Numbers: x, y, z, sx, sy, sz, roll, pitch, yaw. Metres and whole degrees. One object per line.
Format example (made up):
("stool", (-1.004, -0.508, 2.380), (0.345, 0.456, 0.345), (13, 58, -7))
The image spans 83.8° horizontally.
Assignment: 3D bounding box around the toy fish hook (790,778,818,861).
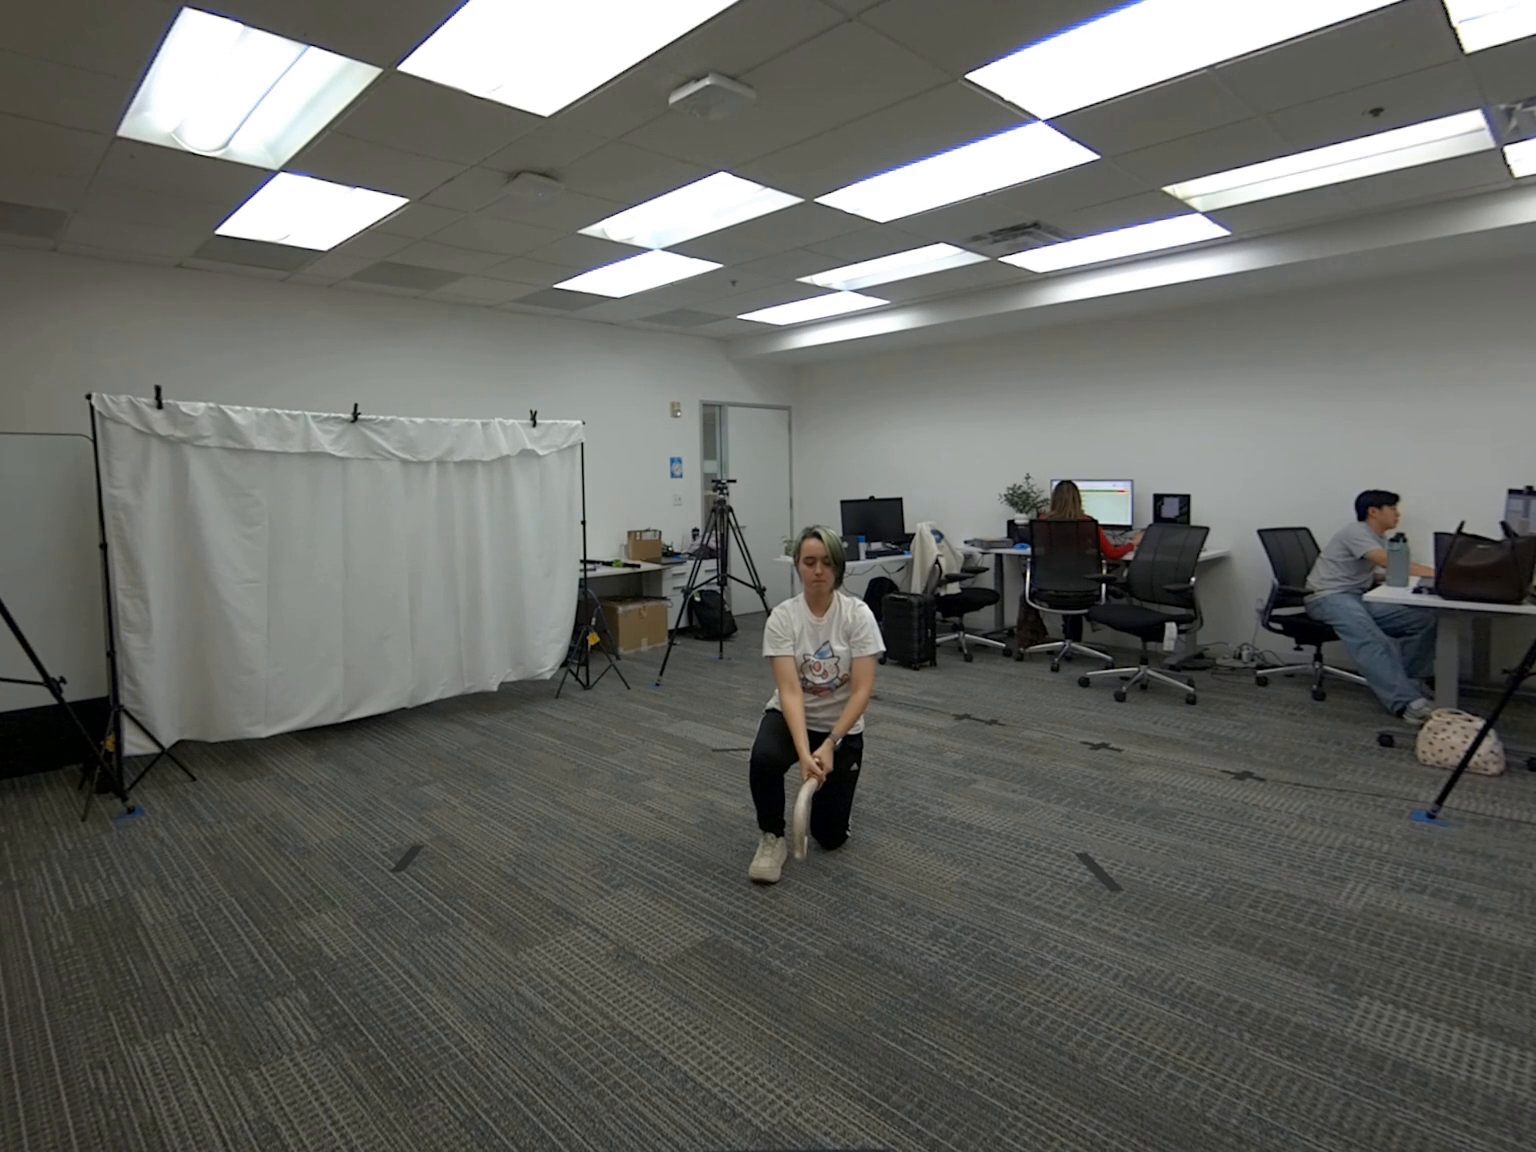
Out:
("toy fish hook", (0.122, 0.714, 2.706), (0.049, 0.223, 0.504), (8, 10, 9))
